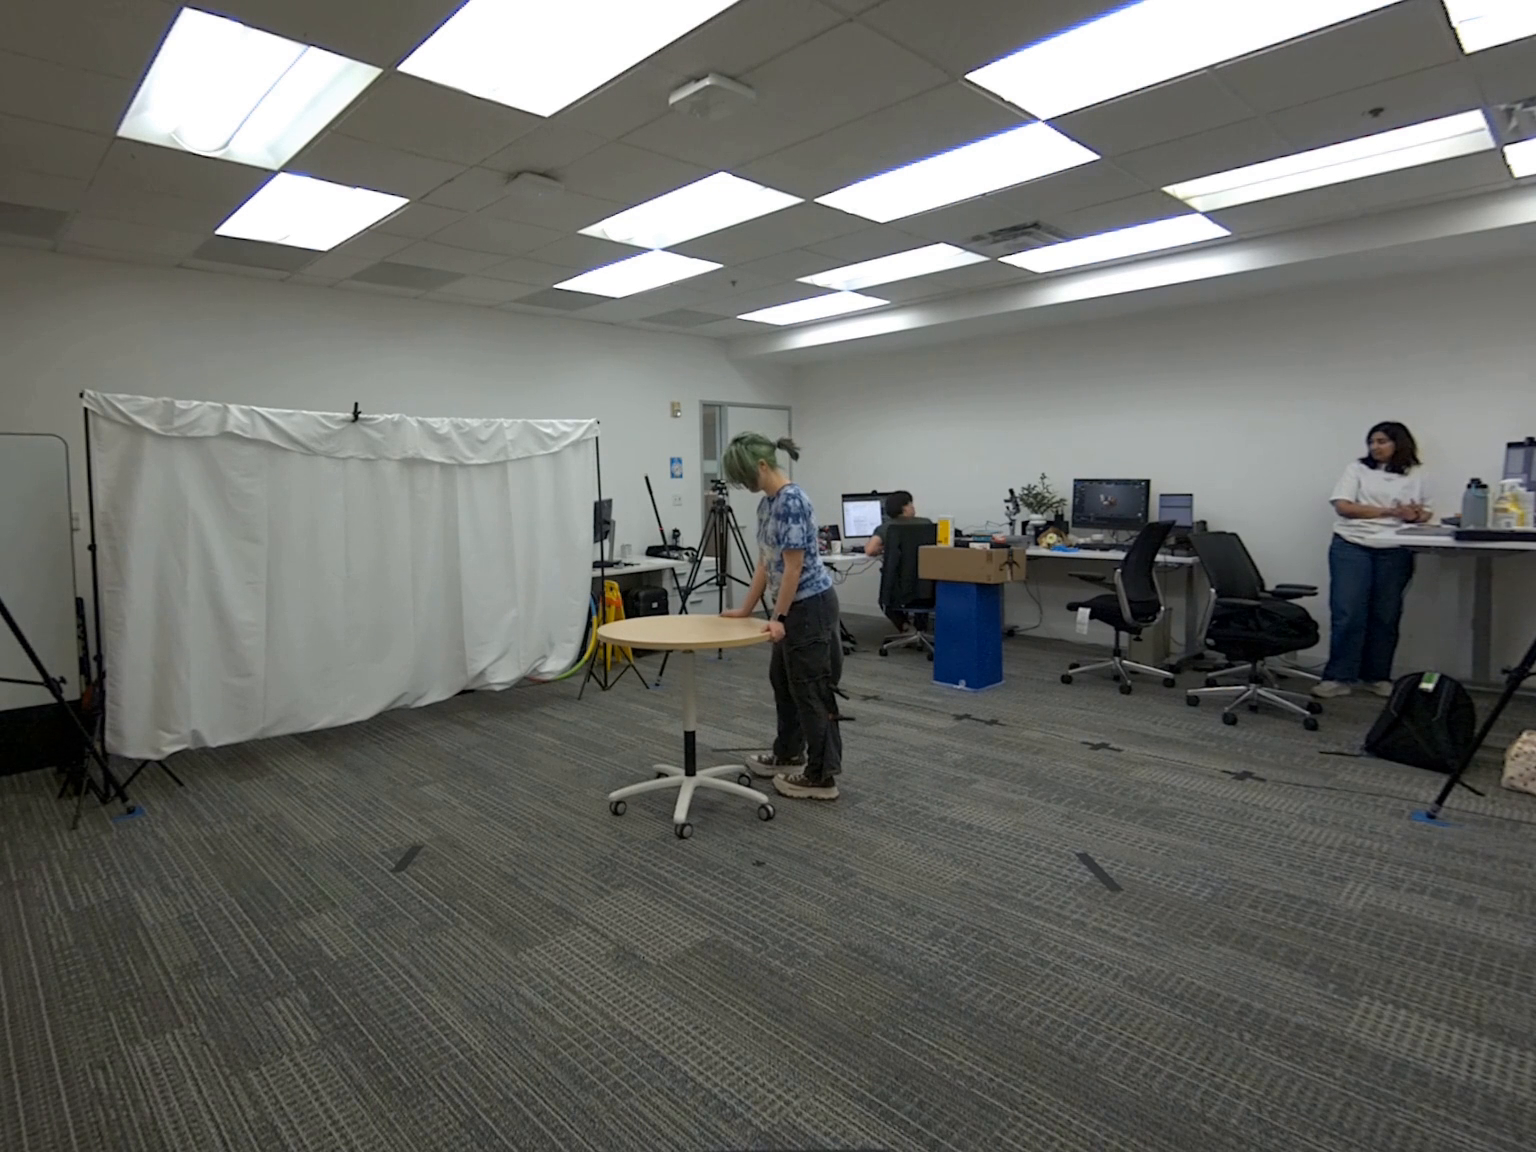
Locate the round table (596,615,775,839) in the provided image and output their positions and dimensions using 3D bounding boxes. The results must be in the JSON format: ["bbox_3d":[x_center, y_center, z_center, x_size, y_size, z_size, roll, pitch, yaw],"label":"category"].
[{"bbox_3d":[-0.335,0.607,3.643,0.763,0.791,0.767,-1,4,-2],"label":"round table"}]
